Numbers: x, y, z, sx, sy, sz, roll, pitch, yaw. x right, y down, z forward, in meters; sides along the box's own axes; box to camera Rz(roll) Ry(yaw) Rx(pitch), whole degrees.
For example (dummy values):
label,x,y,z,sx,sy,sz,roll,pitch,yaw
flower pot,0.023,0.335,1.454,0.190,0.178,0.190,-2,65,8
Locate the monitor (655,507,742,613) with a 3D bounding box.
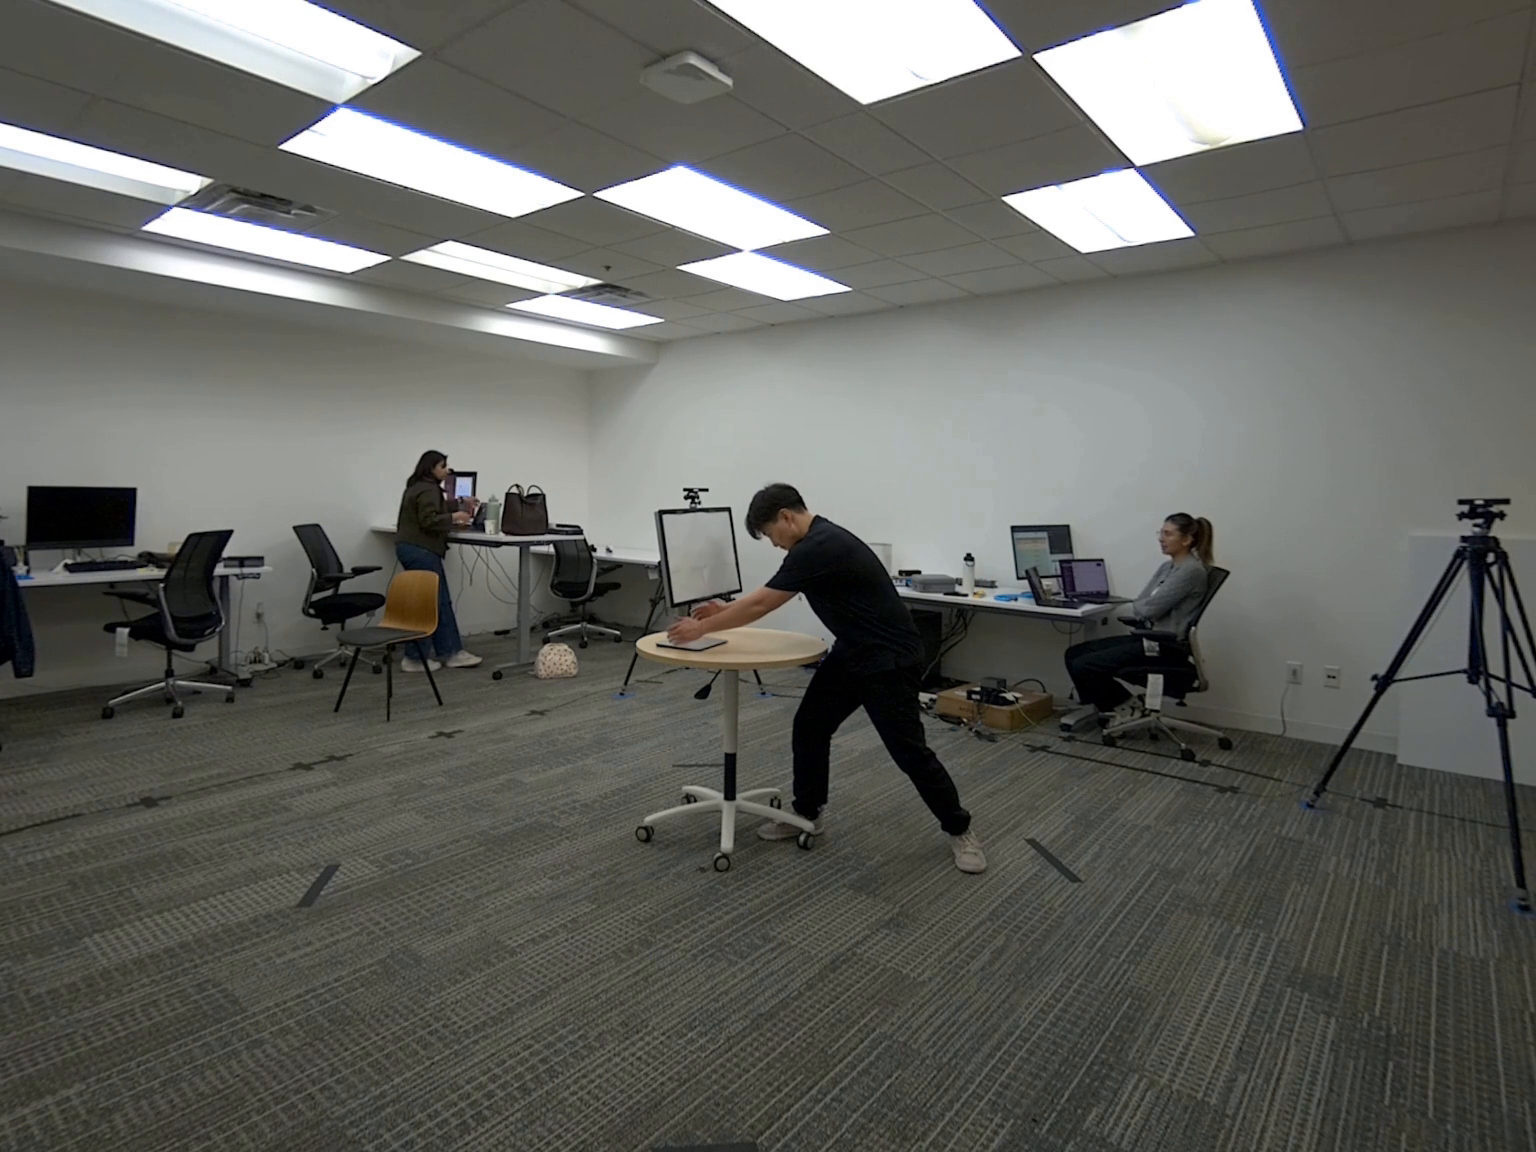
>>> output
label,x,y,z,sx,sy,sz,roll,pitch,yaw
monitor,-0.306,0.003,3.371,0.192,0.520,0.527,5,6,24
